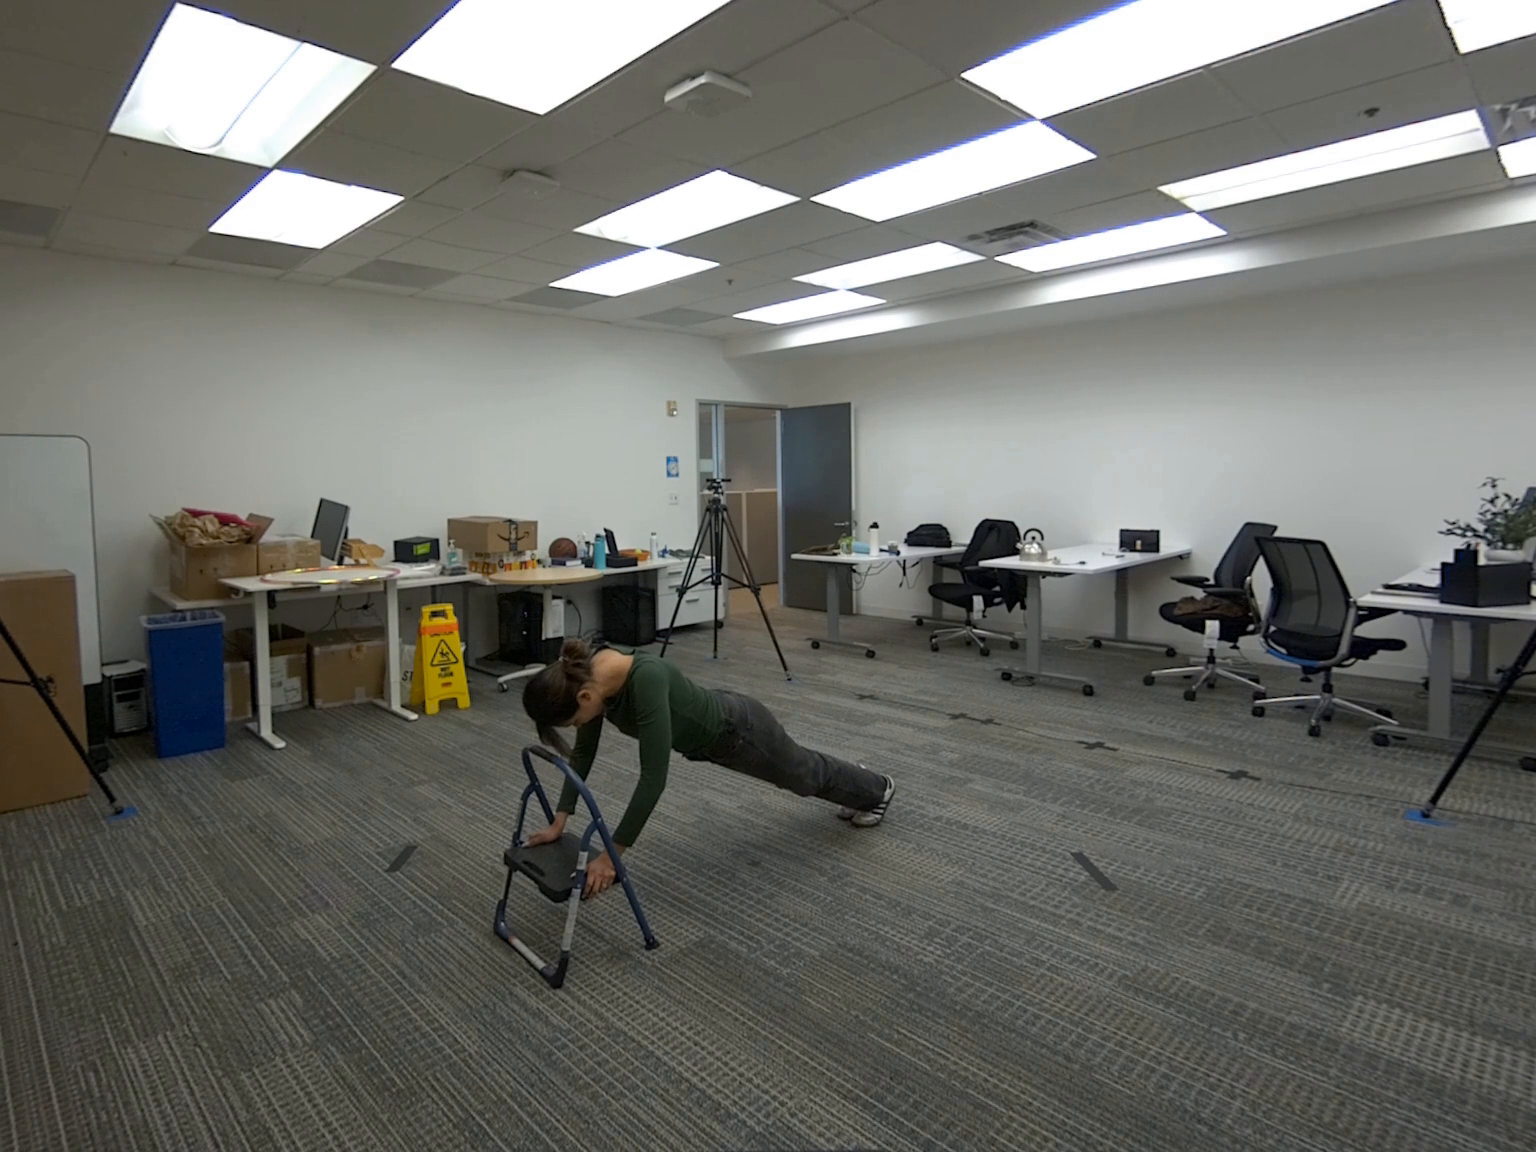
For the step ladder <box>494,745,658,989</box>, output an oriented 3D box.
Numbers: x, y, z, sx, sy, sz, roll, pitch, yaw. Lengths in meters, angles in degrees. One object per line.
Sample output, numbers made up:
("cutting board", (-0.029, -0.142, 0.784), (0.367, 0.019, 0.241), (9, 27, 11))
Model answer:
("step ladder", (-0.599, 0.813, 2.602), (0.340, 0.604, 0.444), (-5, 6, -41))
